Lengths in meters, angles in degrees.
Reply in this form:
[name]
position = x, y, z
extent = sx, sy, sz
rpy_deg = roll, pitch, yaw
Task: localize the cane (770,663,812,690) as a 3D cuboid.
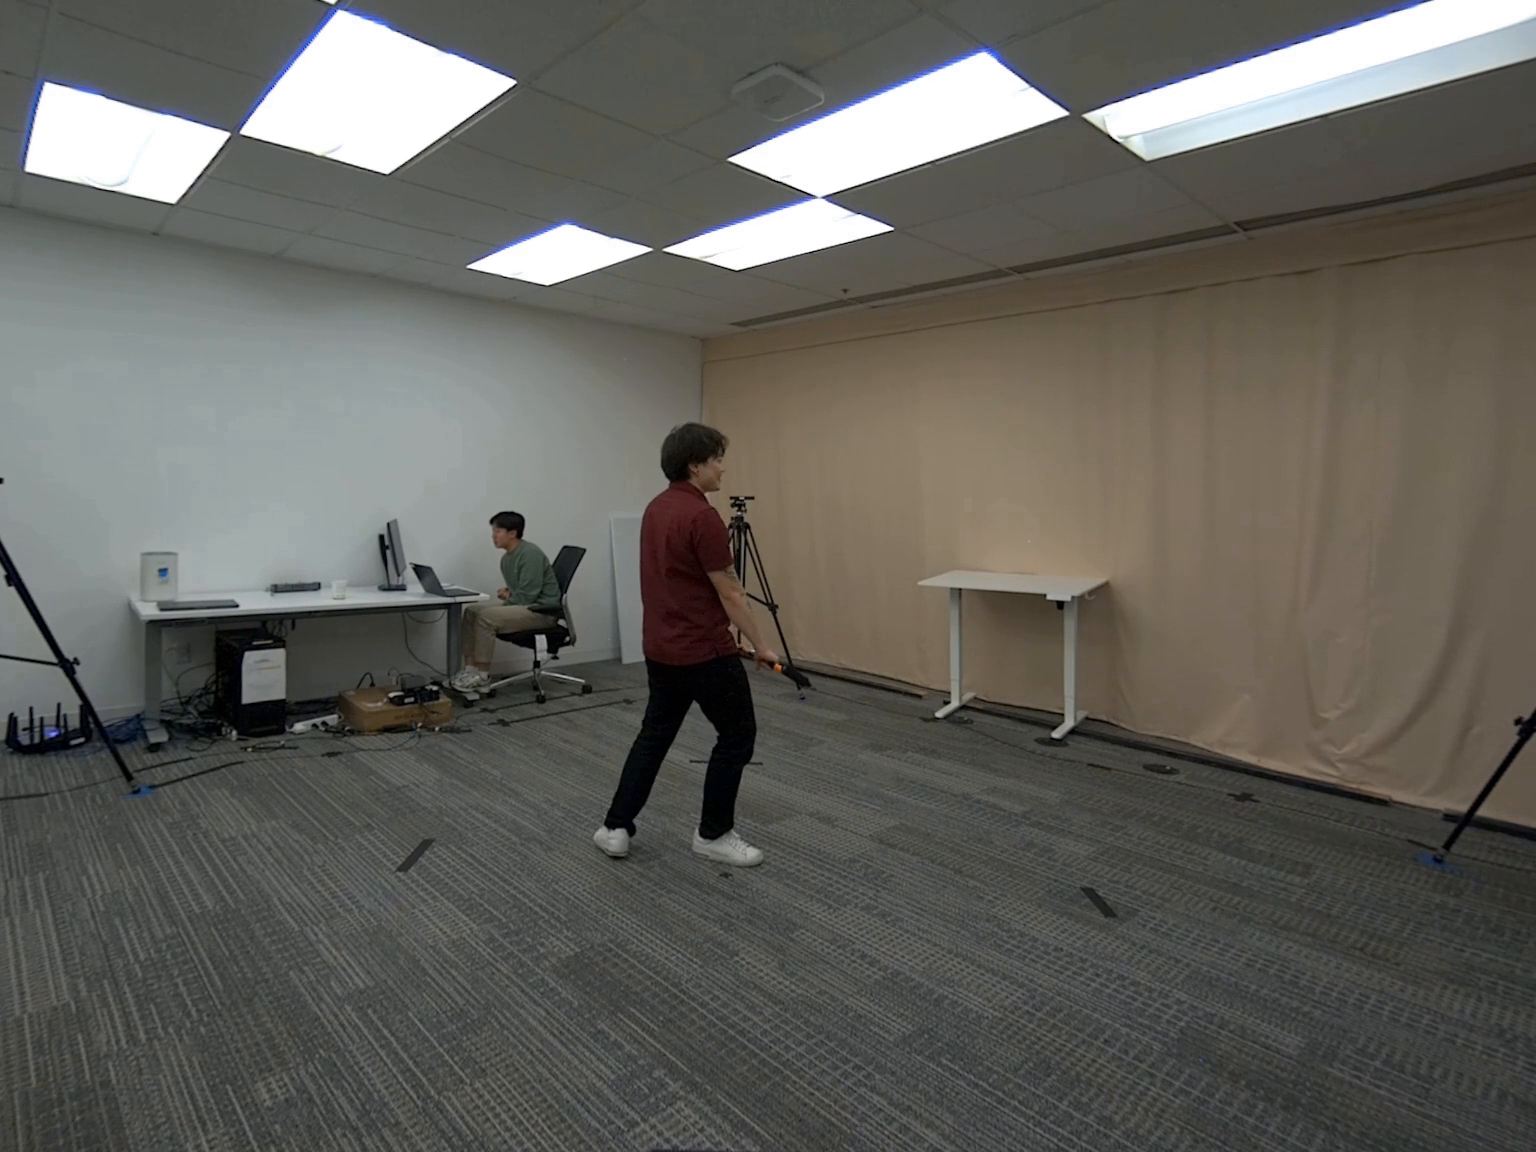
[cane]
position = -0.098, 0.310, 3.291
extent = 0.201, 0.152, 0.931
rpy_deg = 38, -10, -30
